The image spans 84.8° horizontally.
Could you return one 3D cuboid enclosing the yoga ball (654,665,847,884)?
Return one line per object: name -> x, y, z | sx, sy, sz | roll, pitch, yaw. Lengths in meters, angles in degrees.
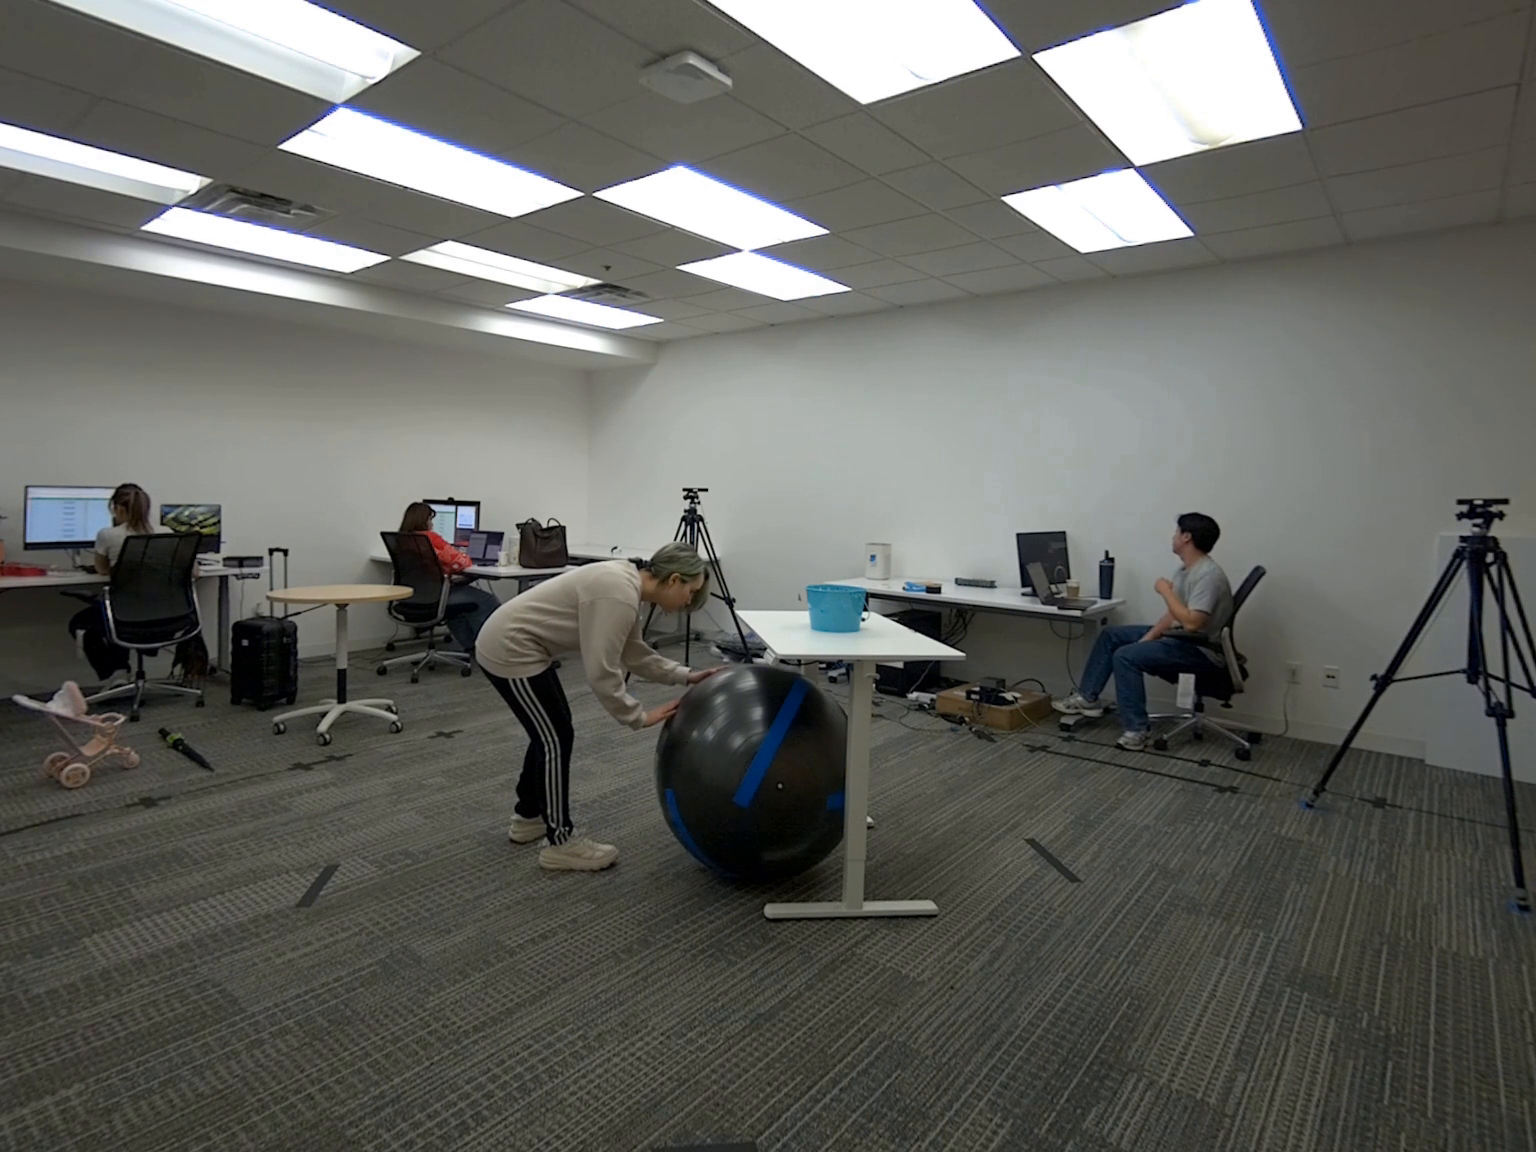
yoga ball -> -0.045, 0.706, 3.097 | 0.757, 0.755, 0.762 | 1, 4, -2
